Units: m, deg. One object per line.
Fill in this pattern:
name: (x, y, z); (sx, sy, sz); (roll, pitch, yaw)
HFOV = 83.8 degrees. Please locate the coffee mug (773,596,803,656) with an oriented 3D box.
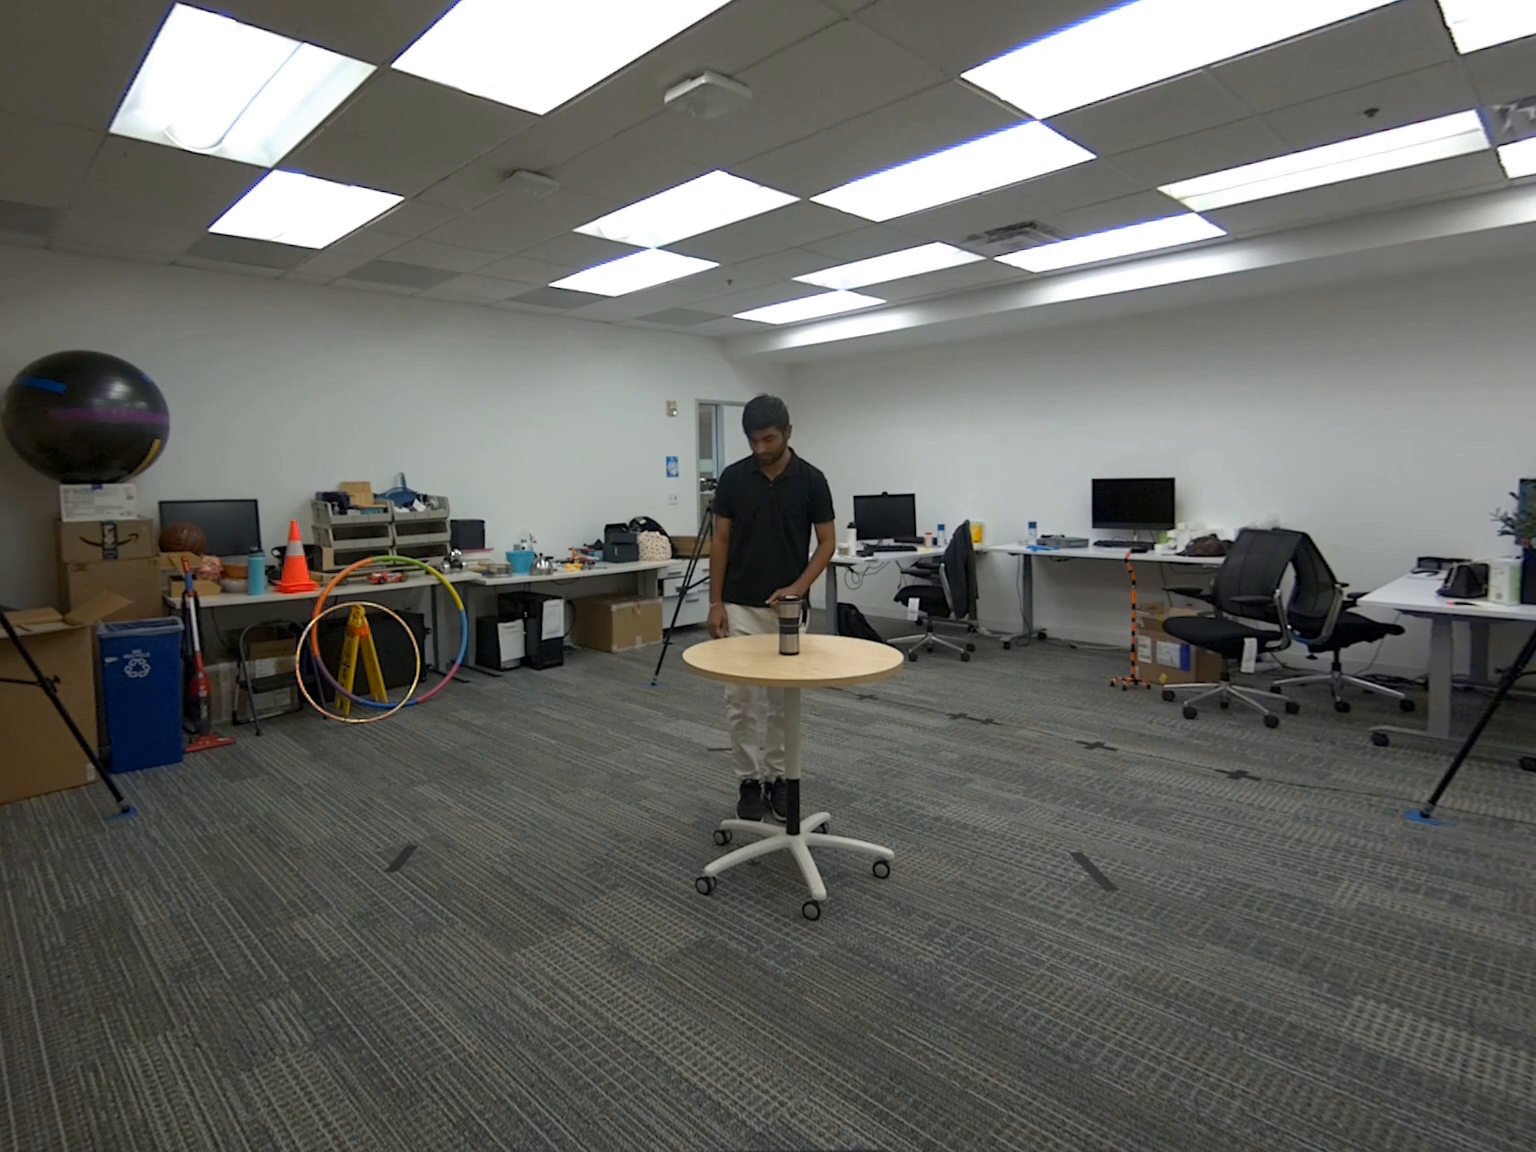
coffee mug: (0.094, 0.176, 2.991); (0.120, 0.203, 0.090); (-8, 2, -25)
